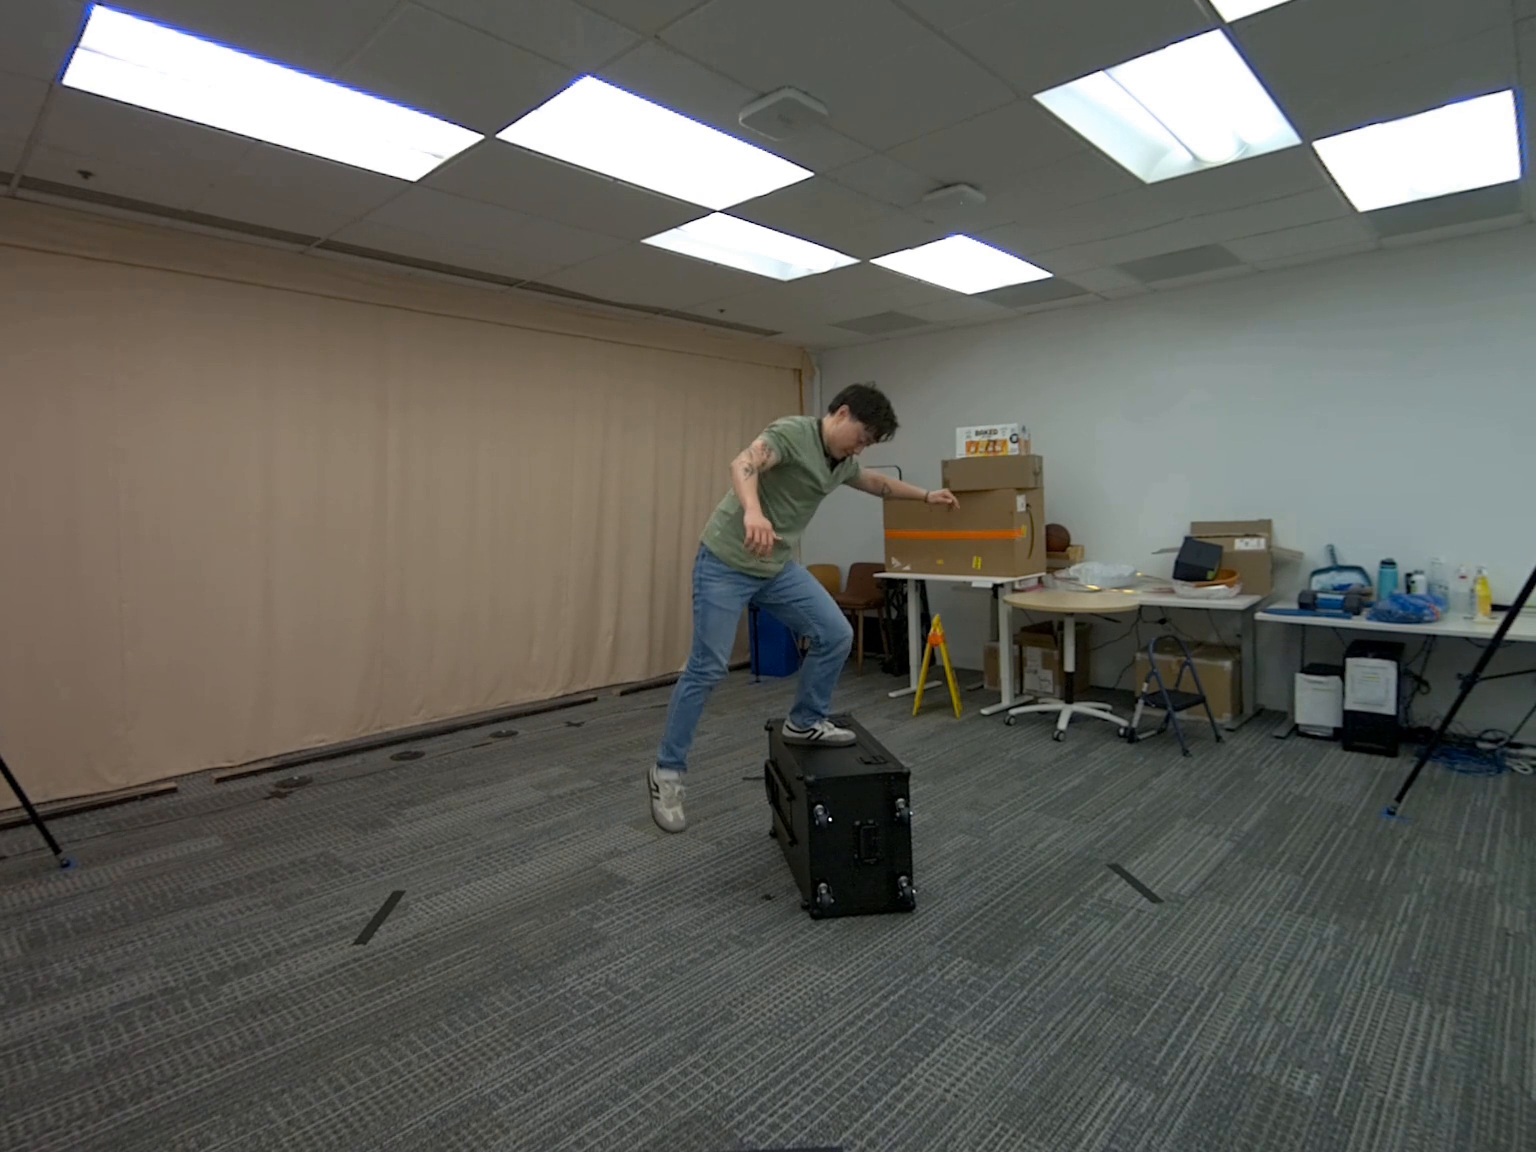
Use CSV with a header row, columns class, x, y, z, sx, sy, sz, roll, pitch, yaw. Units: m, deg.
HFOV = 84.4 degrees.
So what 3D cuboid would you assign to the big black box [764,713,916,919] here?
class,x,y,z,sx,sy,sz,roll,pitch,yaw
big black box,0.241,0.867,3.169,0.393,0.520,0.871,-3,5,-9
